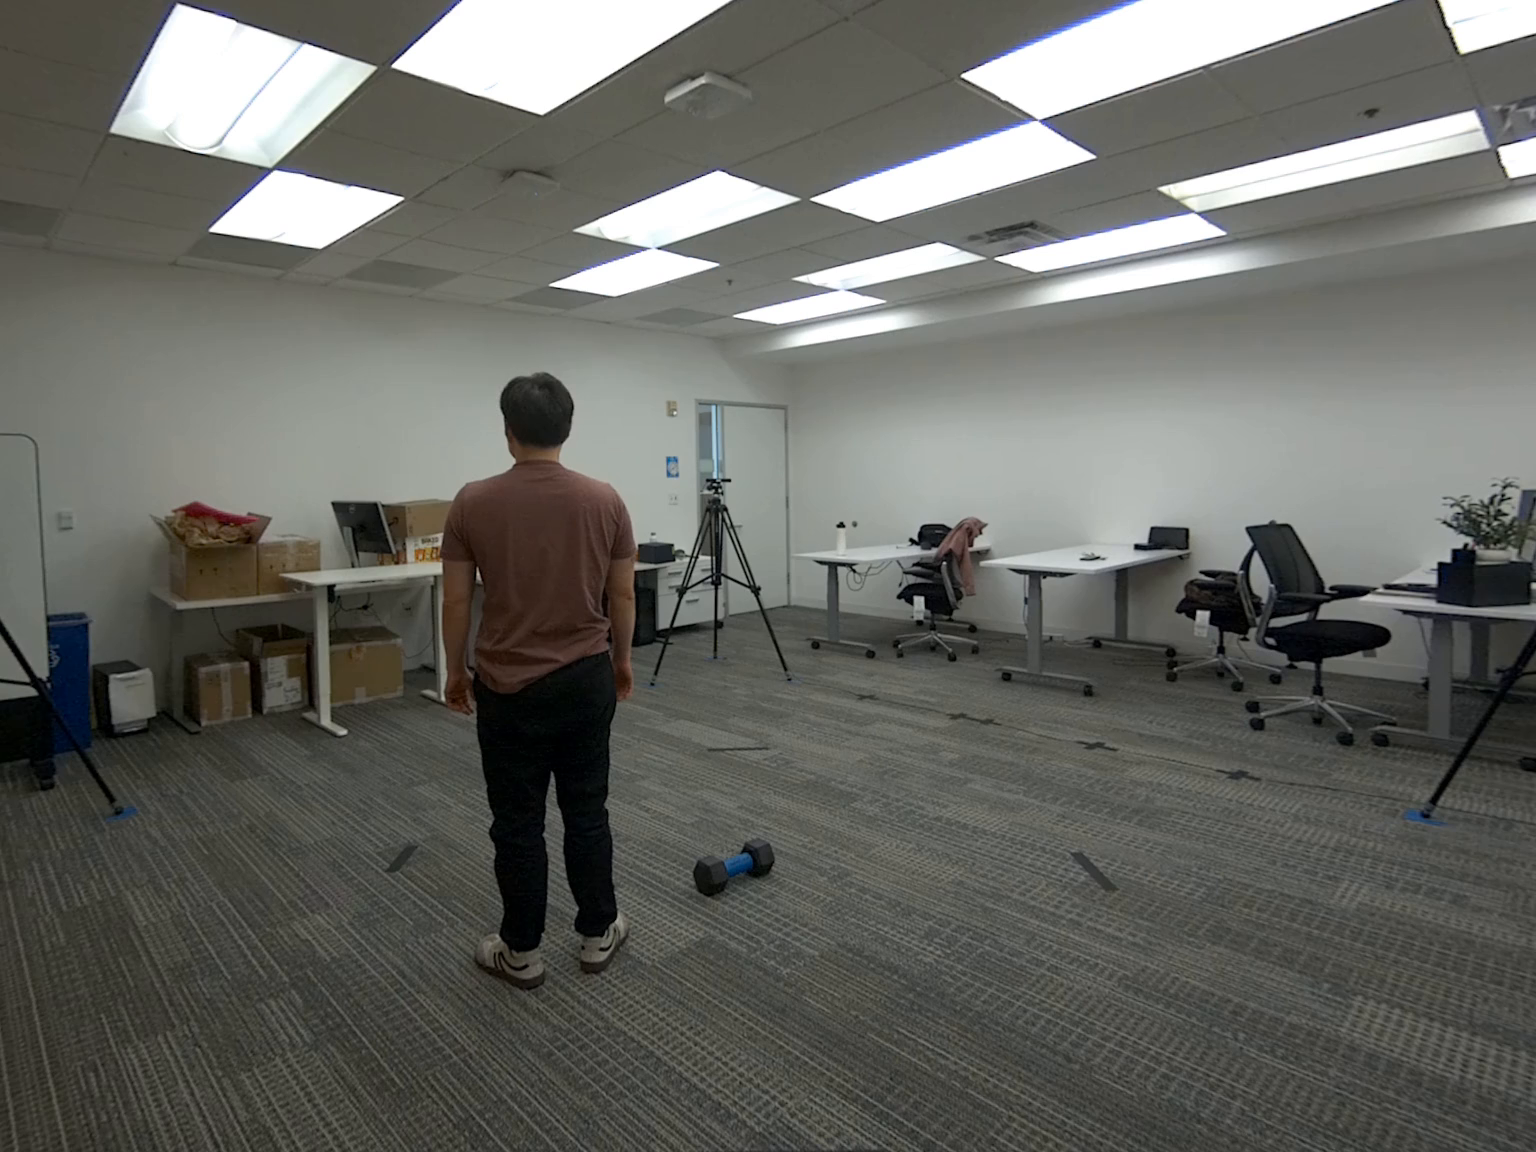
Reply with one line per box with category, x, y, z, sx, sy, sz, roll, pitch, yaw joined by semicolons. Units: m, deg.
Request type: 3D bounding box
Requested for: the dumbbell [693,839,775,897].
dumbbell;-0.113;1.006;2.966;0.286;0.121;0.113;-5;36;-41
